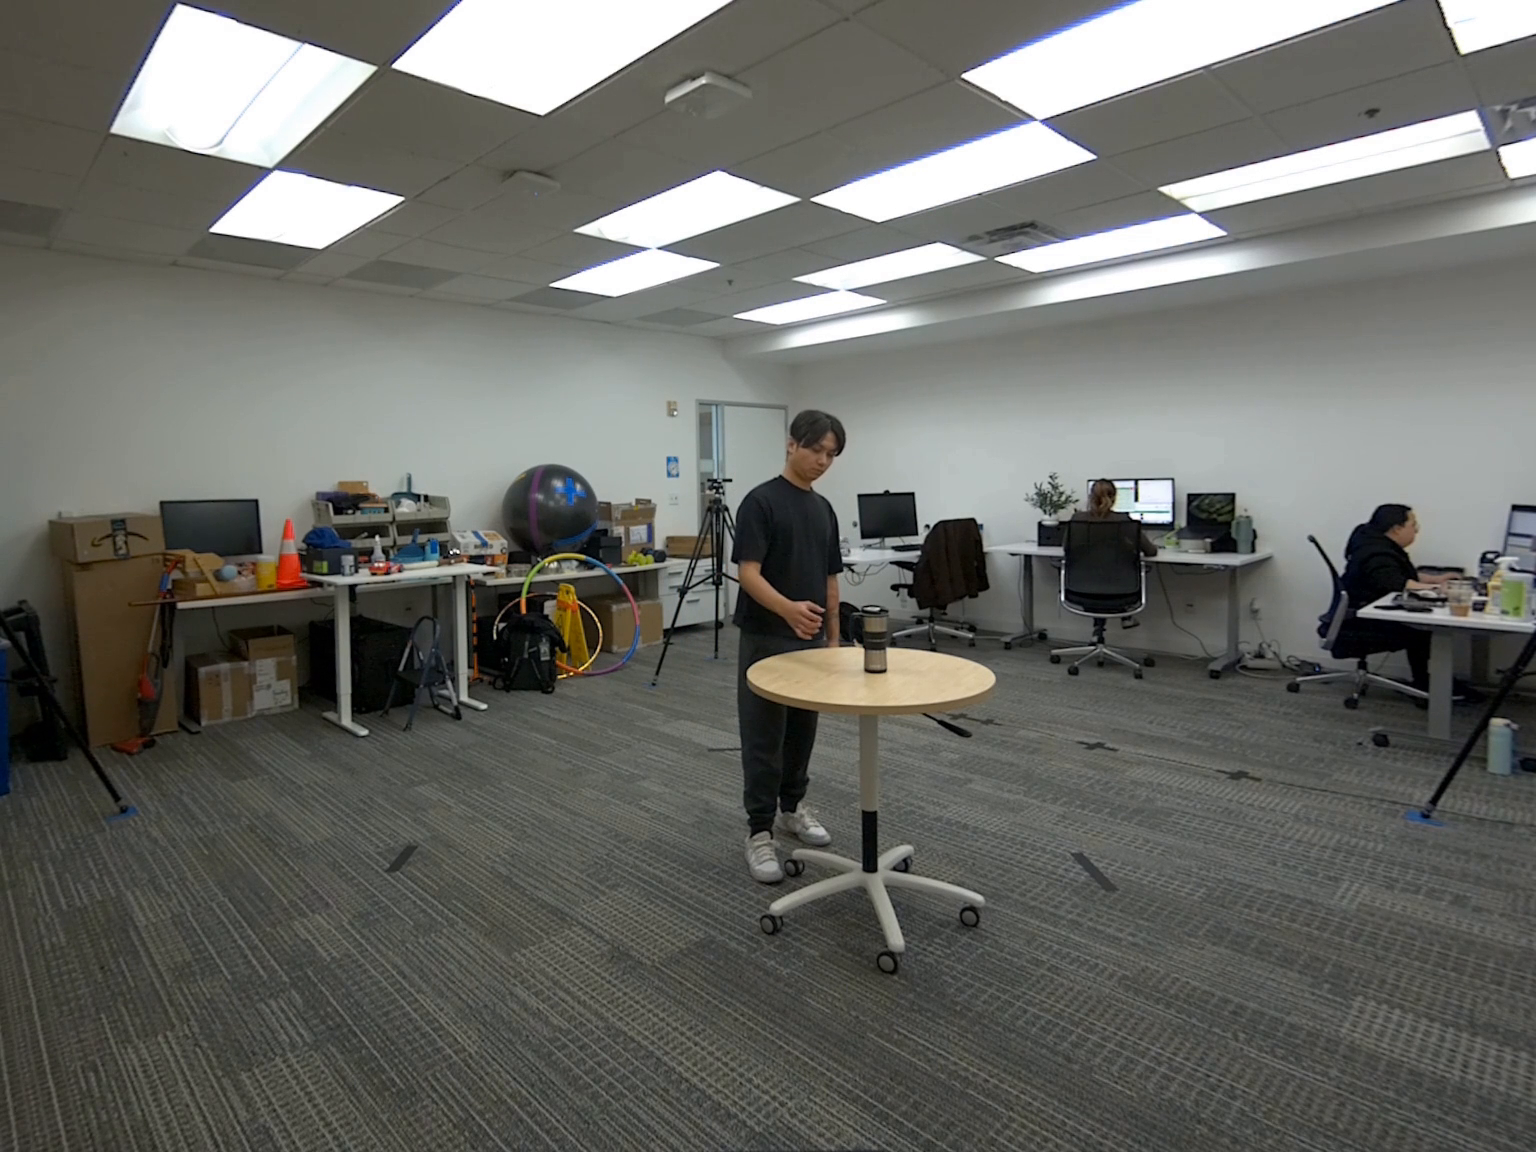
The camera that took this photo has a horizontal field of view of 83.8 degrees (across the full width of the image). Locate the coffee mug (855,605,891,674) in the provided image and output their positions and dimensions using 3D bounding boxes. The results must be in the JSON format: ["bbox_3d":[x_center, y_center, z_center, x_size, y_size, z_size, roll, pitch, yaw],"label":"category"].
[{"bbox_3d":[0.323,0.202,2.712,0.126,0.201,0.086,7,11,40],"label":"coffee mug"}]
